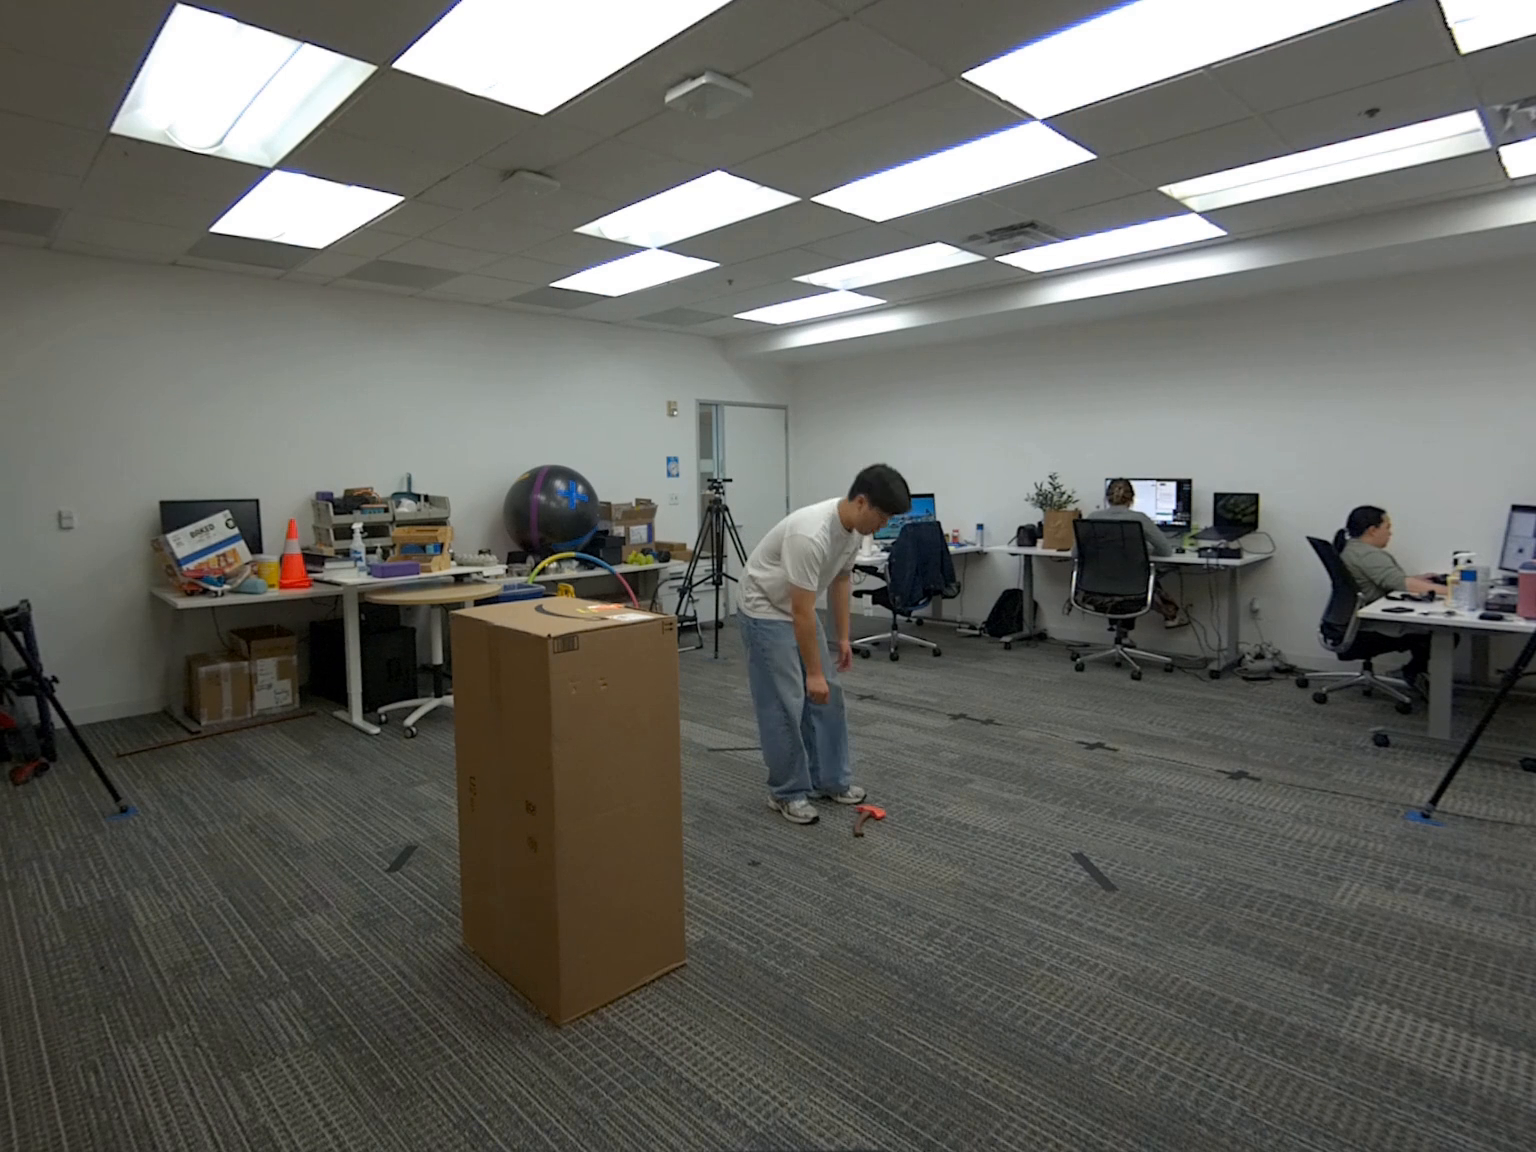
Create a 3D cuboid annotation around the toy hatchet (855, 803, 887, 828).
[{"bbox_3d":[0.413,0.990,3.434,0.132,0.029,0.269,0,8,7],"label":"toy hatchet"}]
